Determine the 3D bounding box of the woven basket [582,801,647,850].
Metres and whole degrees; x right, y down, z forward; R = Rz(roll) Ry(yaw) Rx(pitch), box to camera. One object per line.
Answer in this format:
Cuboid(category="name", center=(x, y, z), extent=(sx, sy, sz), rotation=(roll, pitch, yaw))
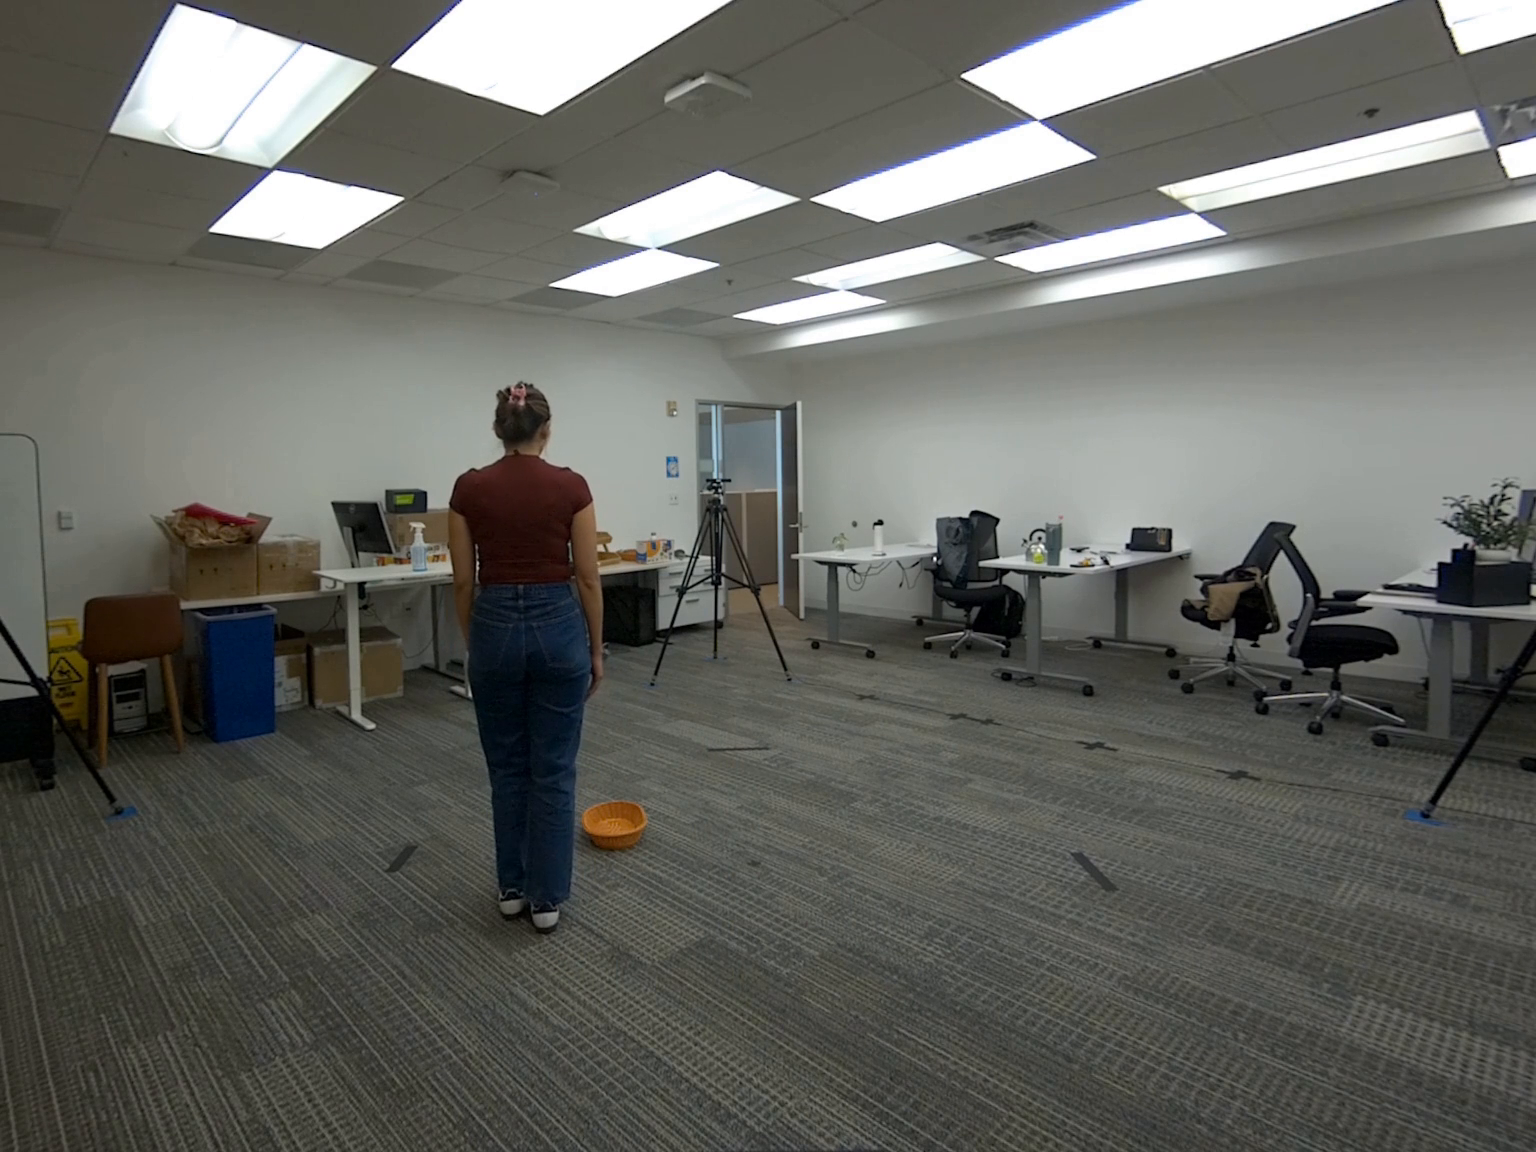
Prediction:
Cuboid(category="woven basket", center=(-0.608, 0.986, 3.374), extent=(0.249, 0.073, 0.356), rotation=(-4, 7, -14))
